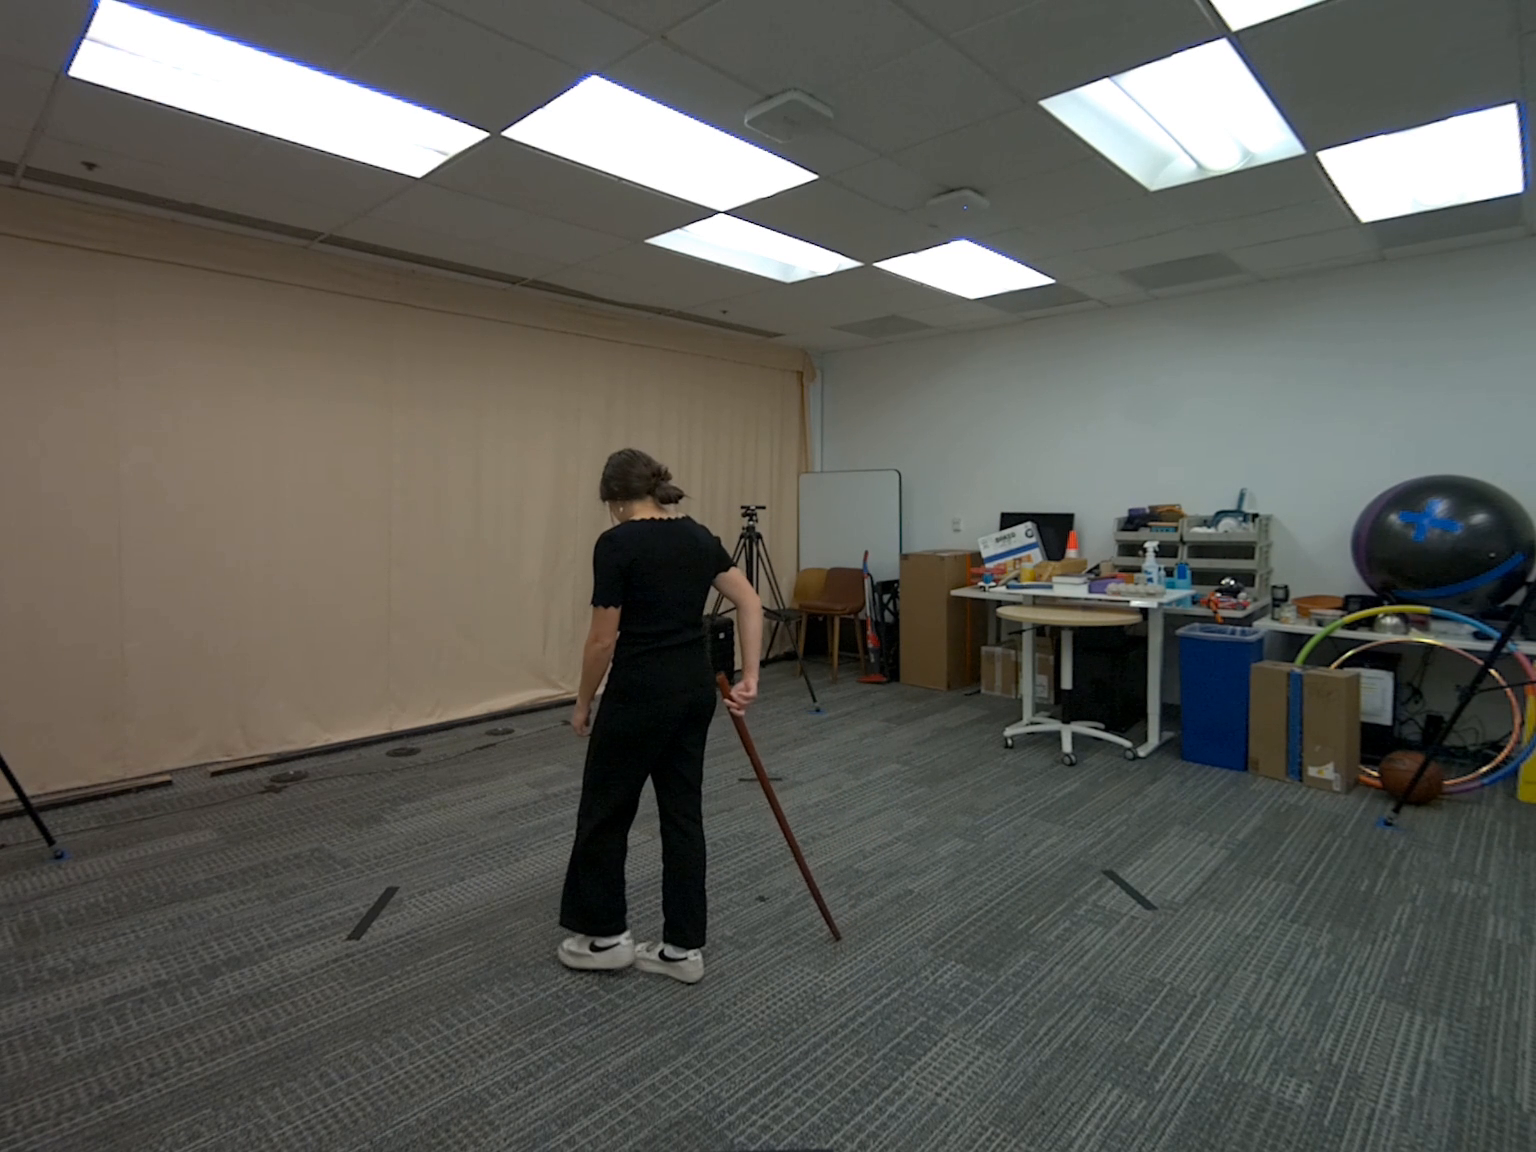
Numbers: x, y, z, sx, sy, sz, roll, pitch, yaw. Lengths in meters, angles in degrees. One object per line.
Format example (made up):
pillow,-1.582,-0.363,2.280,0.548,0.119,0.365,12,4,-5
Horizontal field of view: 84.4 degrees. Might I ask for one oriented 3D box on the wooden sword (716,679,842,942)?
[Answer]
wooden sword,0.049,0.749,2.528,0.024,1.004,0.053,-29,22,-12
